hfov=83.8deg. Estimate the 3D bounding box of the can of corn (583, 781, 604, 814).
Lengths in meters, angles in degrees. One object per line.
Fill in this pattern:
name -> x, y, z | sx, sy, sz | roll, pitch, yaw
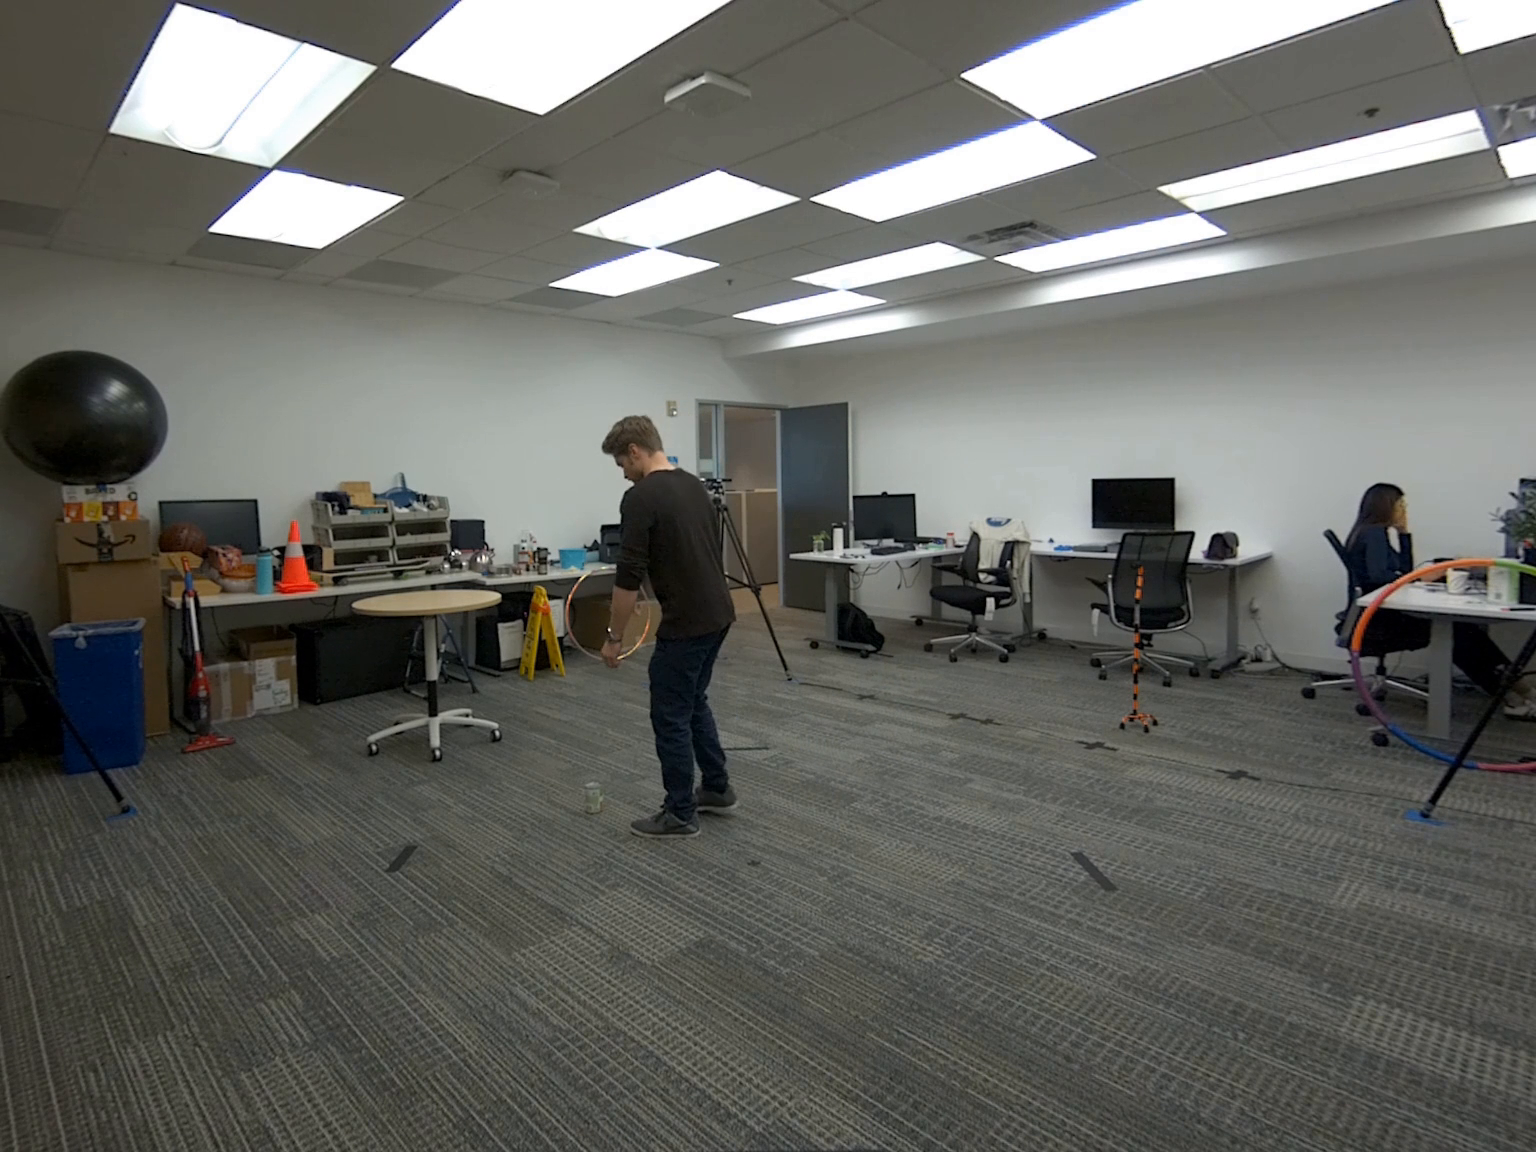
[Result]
can of corn -> -0.735, 0.941, 3.629 | 0.074, 0.110, 0.074 | -3, 4, -1
